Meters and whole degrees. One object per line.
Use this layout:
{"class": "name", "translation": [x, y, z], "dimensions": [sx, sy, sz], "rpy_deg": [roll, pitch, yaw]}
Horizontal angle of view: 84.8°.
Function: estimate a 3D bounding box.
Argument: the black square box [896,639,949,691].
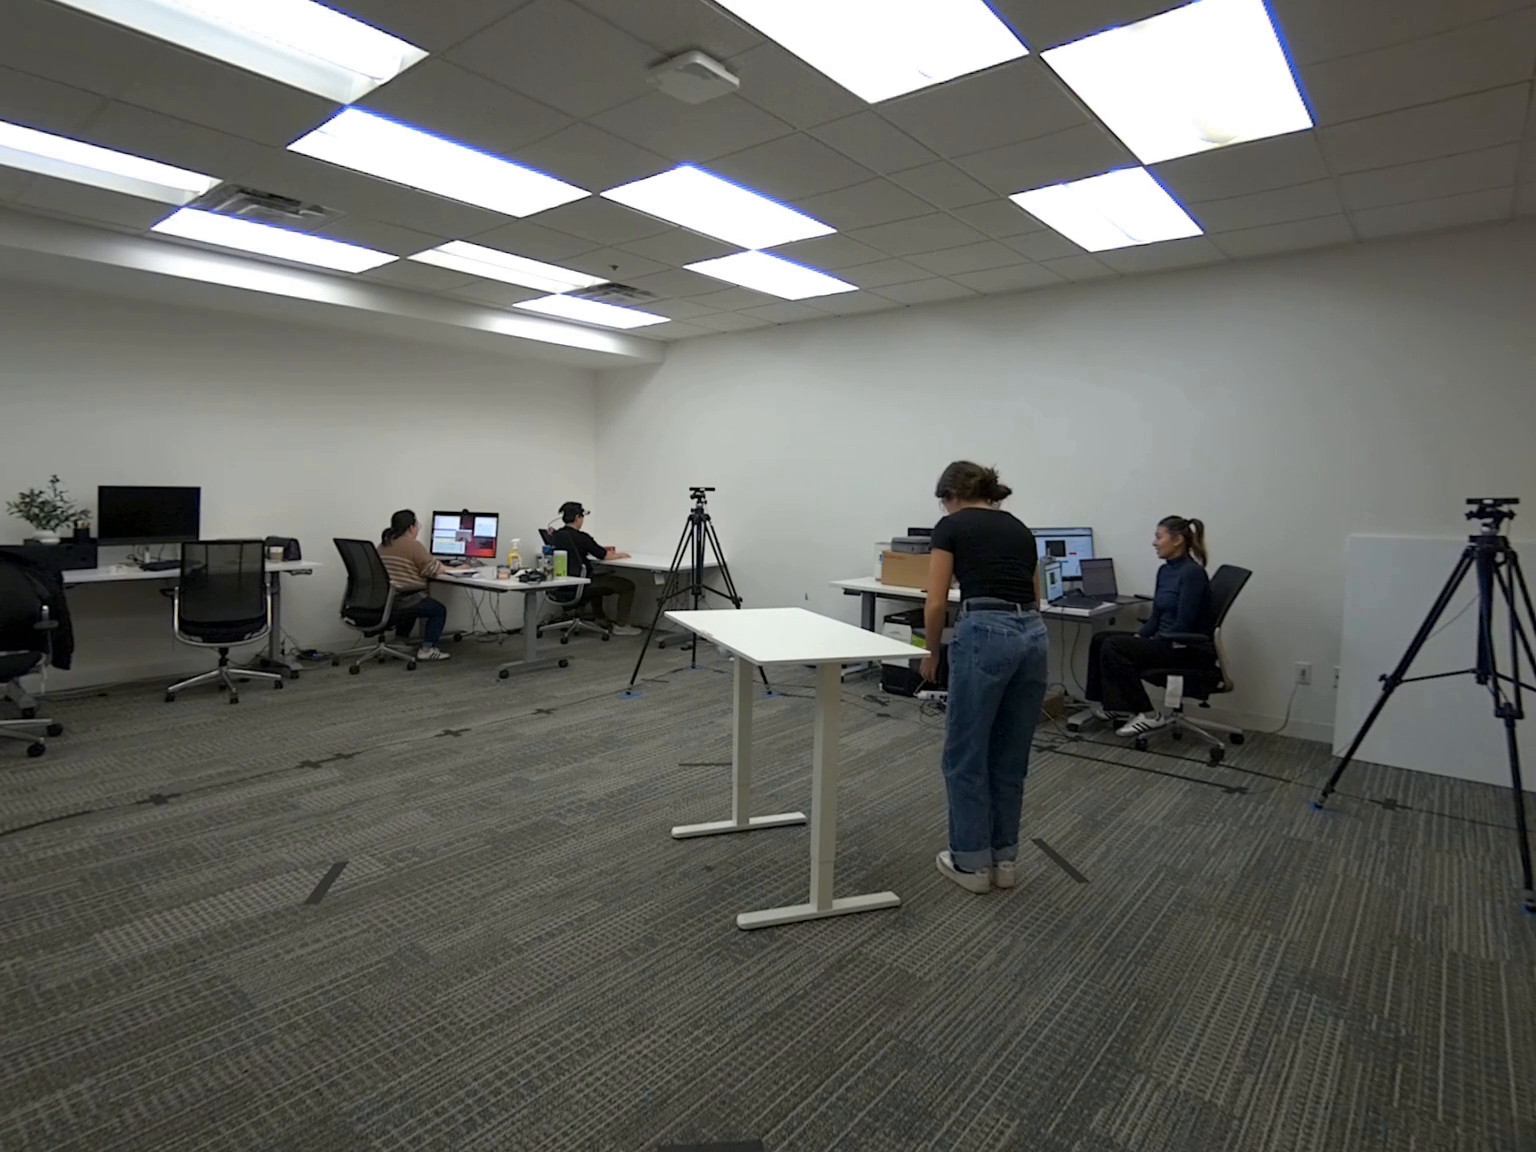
{"class": "black square box", "translation": [0.703, 0.308, 3.307], "dimensions": [0.212, 0.155, 0.234], "rpy_deg": [3, 9, -20]}
